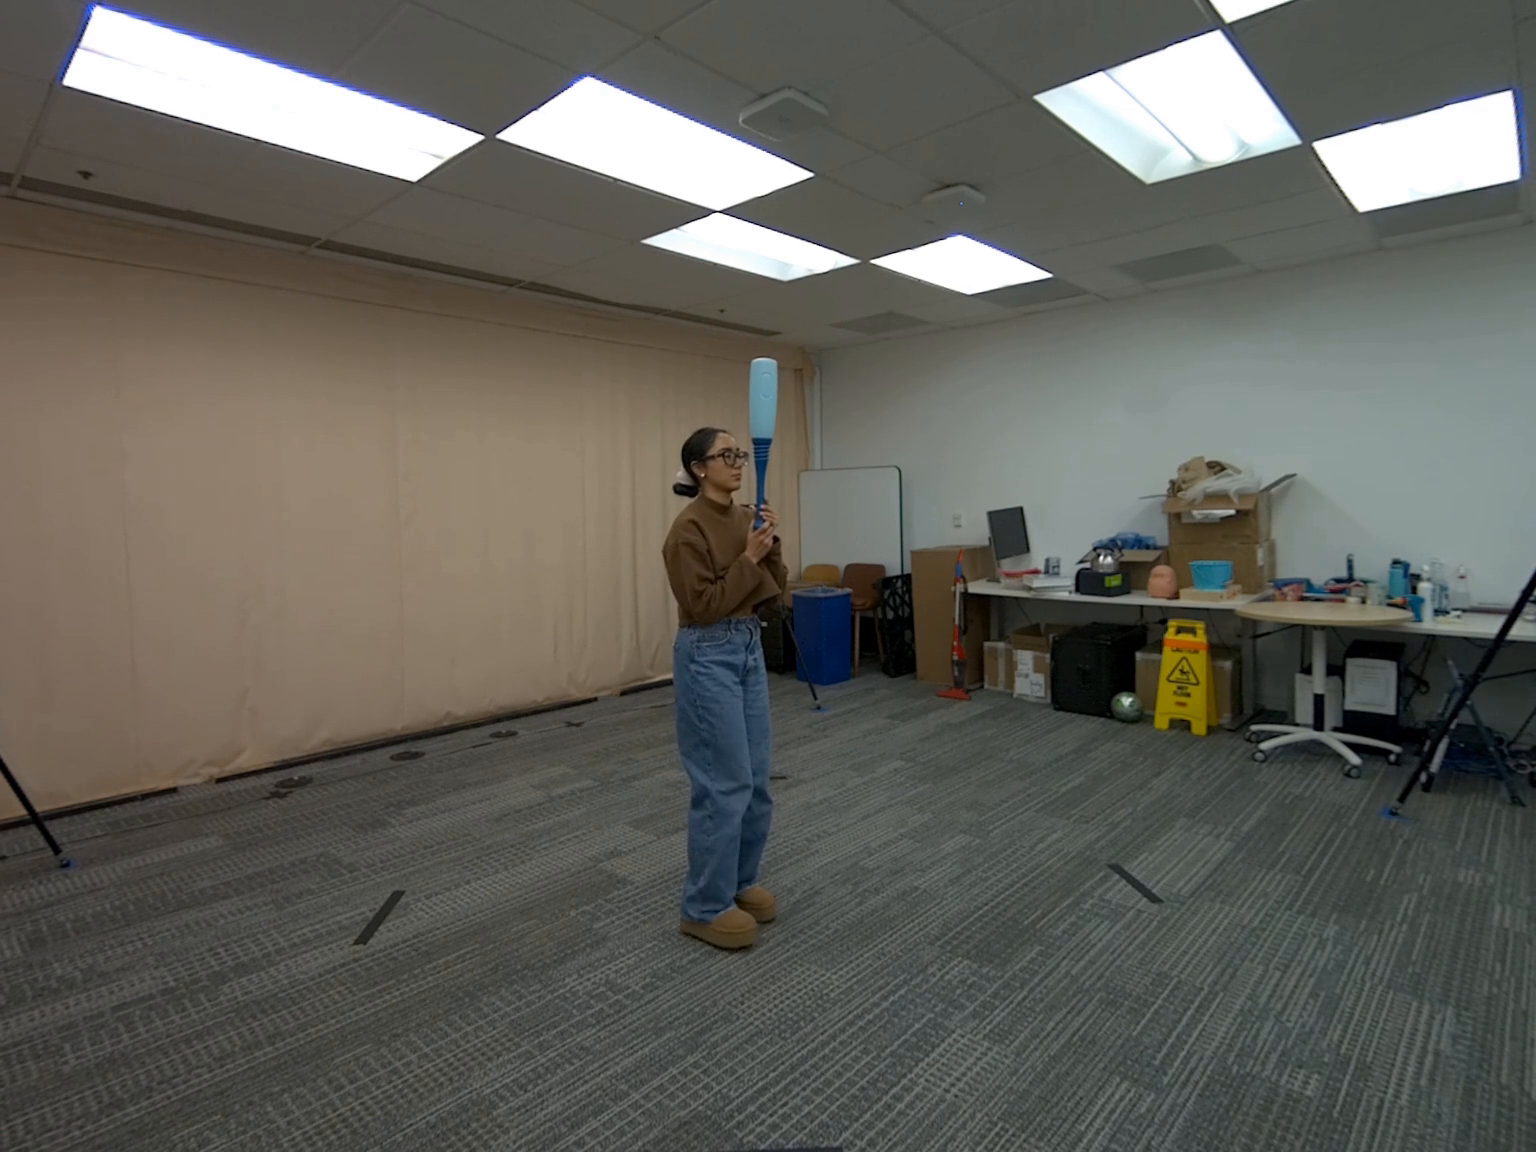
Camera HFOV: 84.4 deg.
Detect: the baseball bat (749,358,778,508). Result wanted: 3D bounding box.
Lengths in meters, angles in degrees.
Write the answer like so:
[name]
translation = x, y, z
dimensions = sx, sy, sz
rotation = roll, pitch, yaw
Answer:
[baseball bat]
translation = -0.026, -0.419, 2.677
dimensions = 0.089, 0.542, 0.089
rotation = 4, 2, -2
